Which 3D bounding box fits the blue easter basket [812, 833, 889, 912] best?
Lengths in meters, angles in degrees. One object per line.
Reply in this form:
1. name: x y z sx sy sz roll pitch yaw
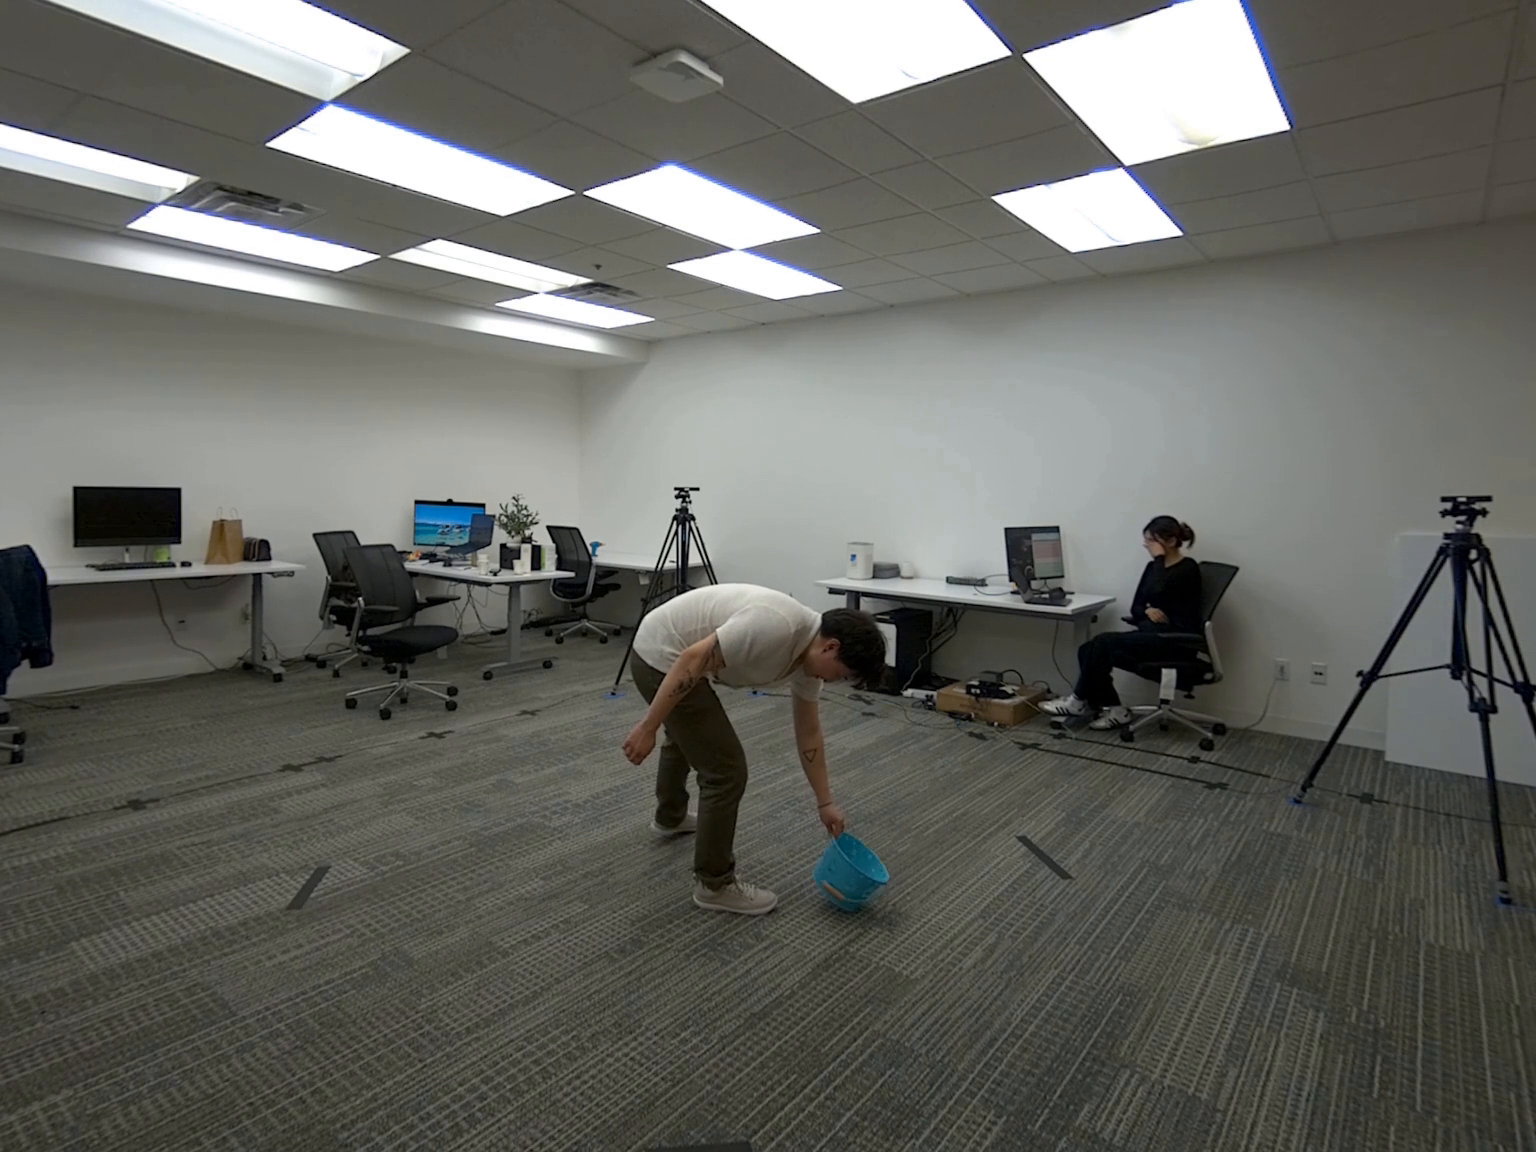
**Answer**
1. blue easter basket: 0.260 0.991 2.869 0.241 0.155 0.247 34 11 -10
